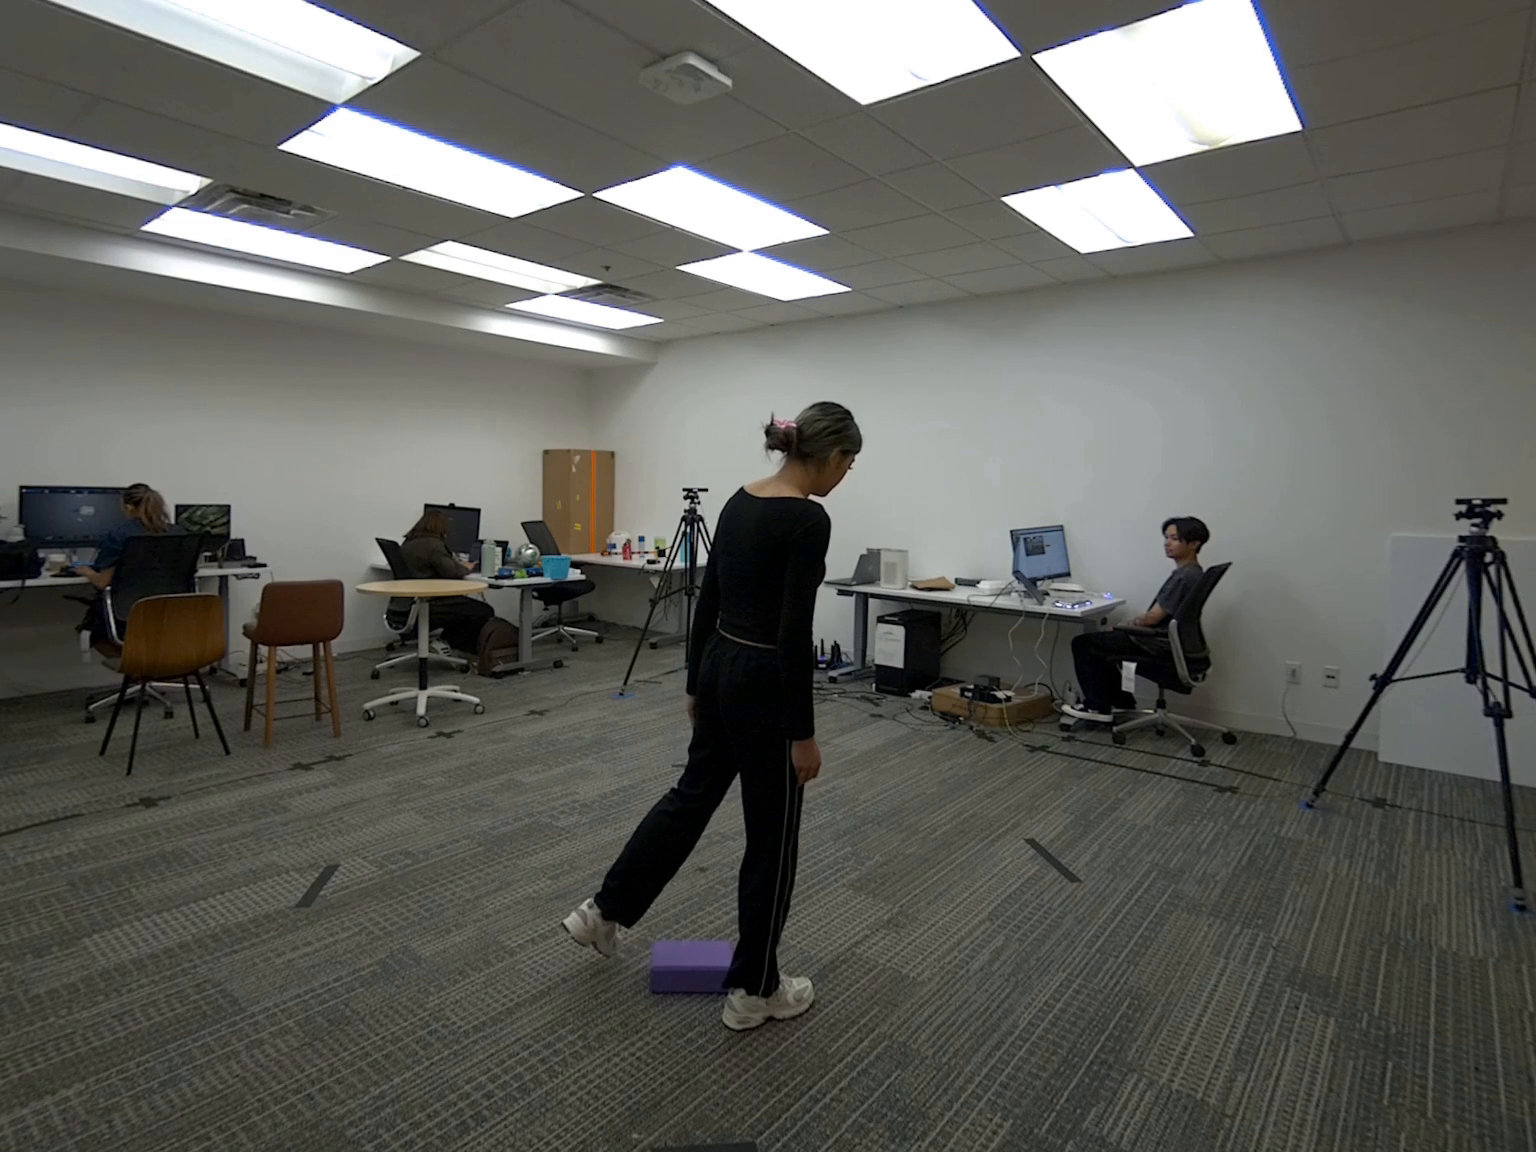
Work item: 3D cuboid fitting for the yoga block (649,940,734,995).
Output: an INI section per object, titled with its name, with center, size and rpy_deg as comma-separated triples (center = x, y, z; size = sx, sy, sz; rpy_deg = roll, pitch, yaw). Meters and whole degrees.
[yoga block]
center = -0.223, 1.101, 2.400
size = 0.229, 0.076, 0.149
rpy_deg = 0, 4, -1
